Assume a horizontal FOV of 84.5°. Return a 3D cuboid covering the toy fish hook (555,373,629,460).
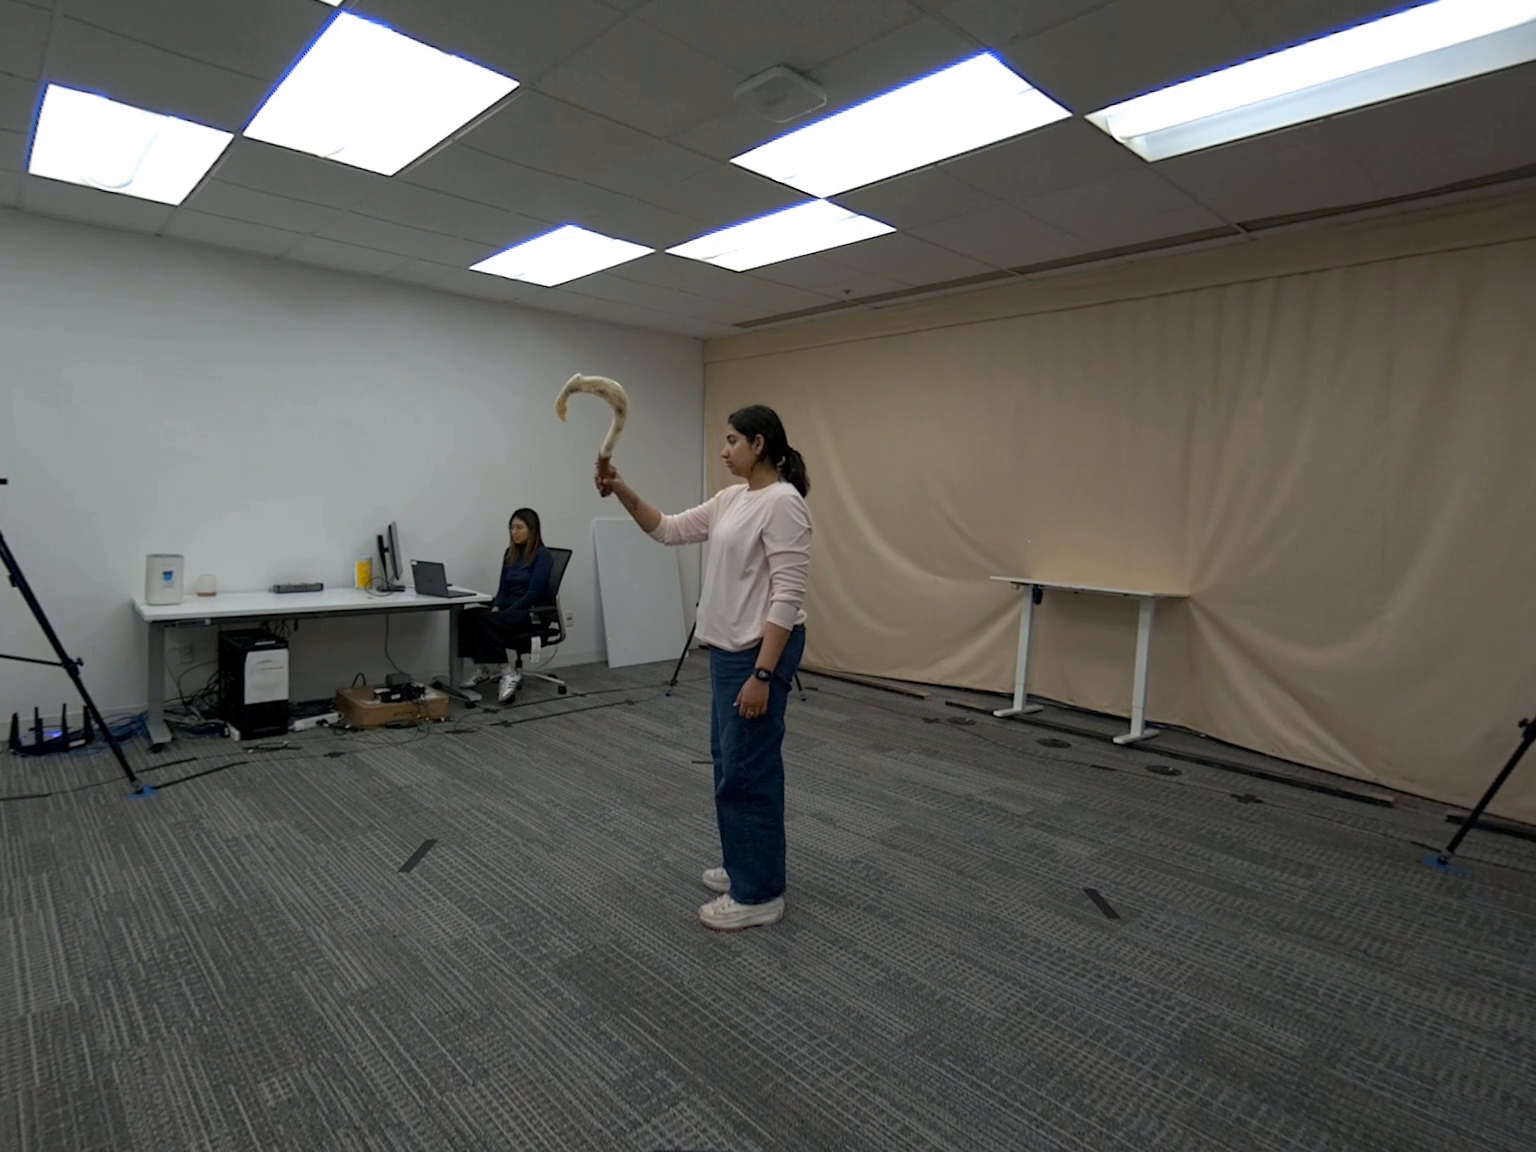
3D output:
[{"bbox_3d":[-0.564,-0.415,2.637,0.224,0.049,0.498,10,-40,-1],"label":"toy fish hook"}]
